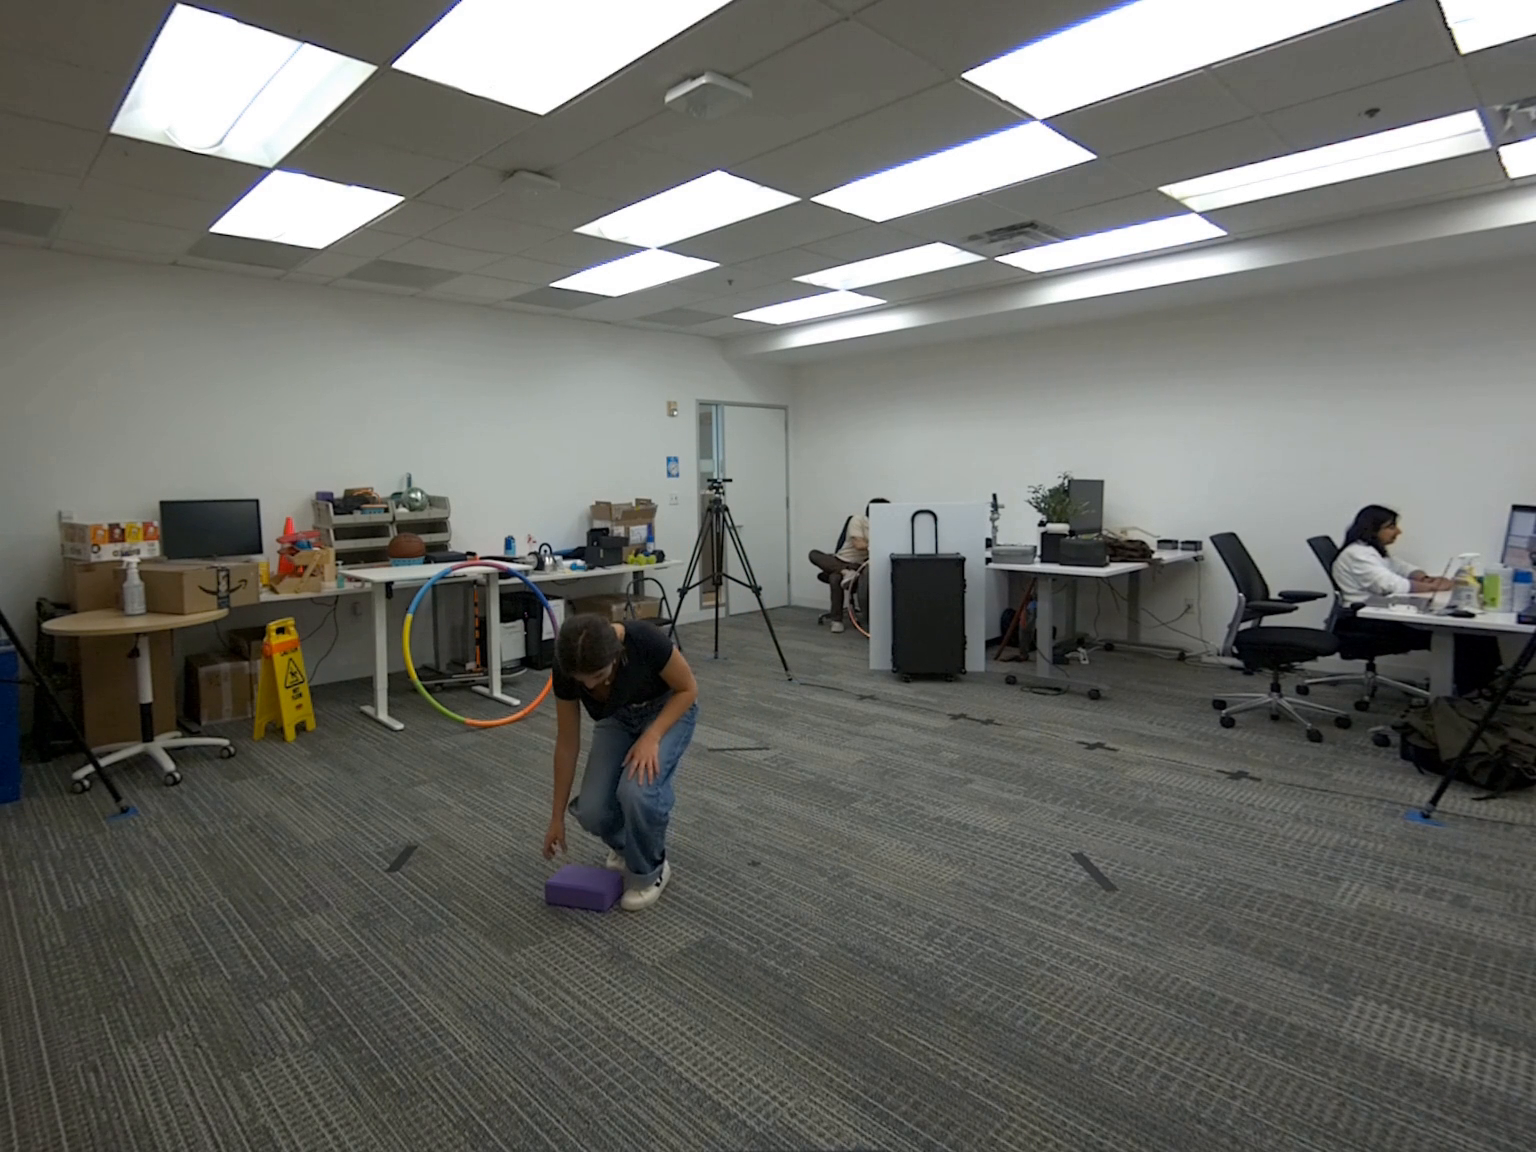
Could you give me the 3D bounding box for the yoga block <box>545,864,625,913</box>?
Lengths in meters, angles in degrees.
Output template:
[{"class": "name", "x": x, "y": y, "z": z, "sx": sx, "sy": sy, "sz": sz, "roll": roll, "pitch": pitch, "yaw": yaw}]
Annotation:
[{"class": "yoga block", "x": -0.609, "y": 1.041, "z": 2.870, "sx": 0.233, "sy": 0.076, "sz": 0.147, "roll": 0, "pitch": 5, "yaw": 16}]
